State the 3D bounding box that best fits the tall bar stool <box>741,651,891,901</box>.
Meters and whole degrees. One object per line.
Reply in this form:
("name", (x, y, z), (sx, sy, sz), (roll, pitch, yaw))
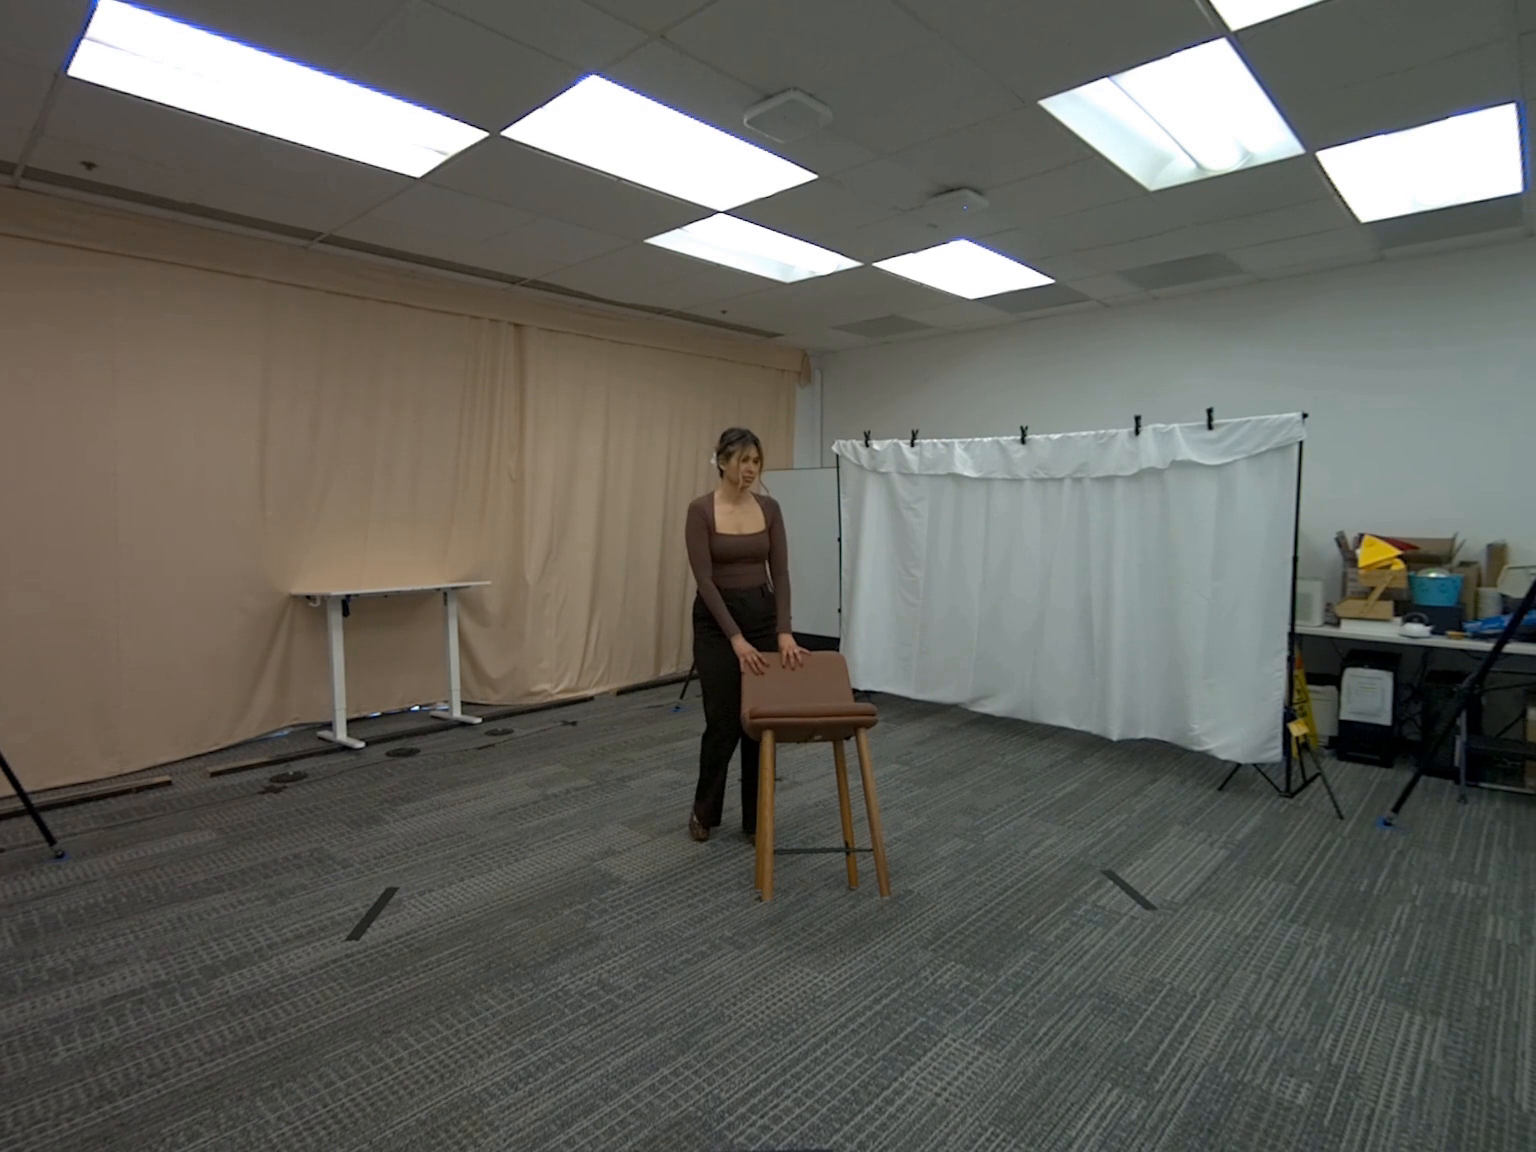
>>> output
("tall bar stool", (0.152, 0.660, 2.996), (0.455, 0.901, 0.463), (-1, -19, -4))
